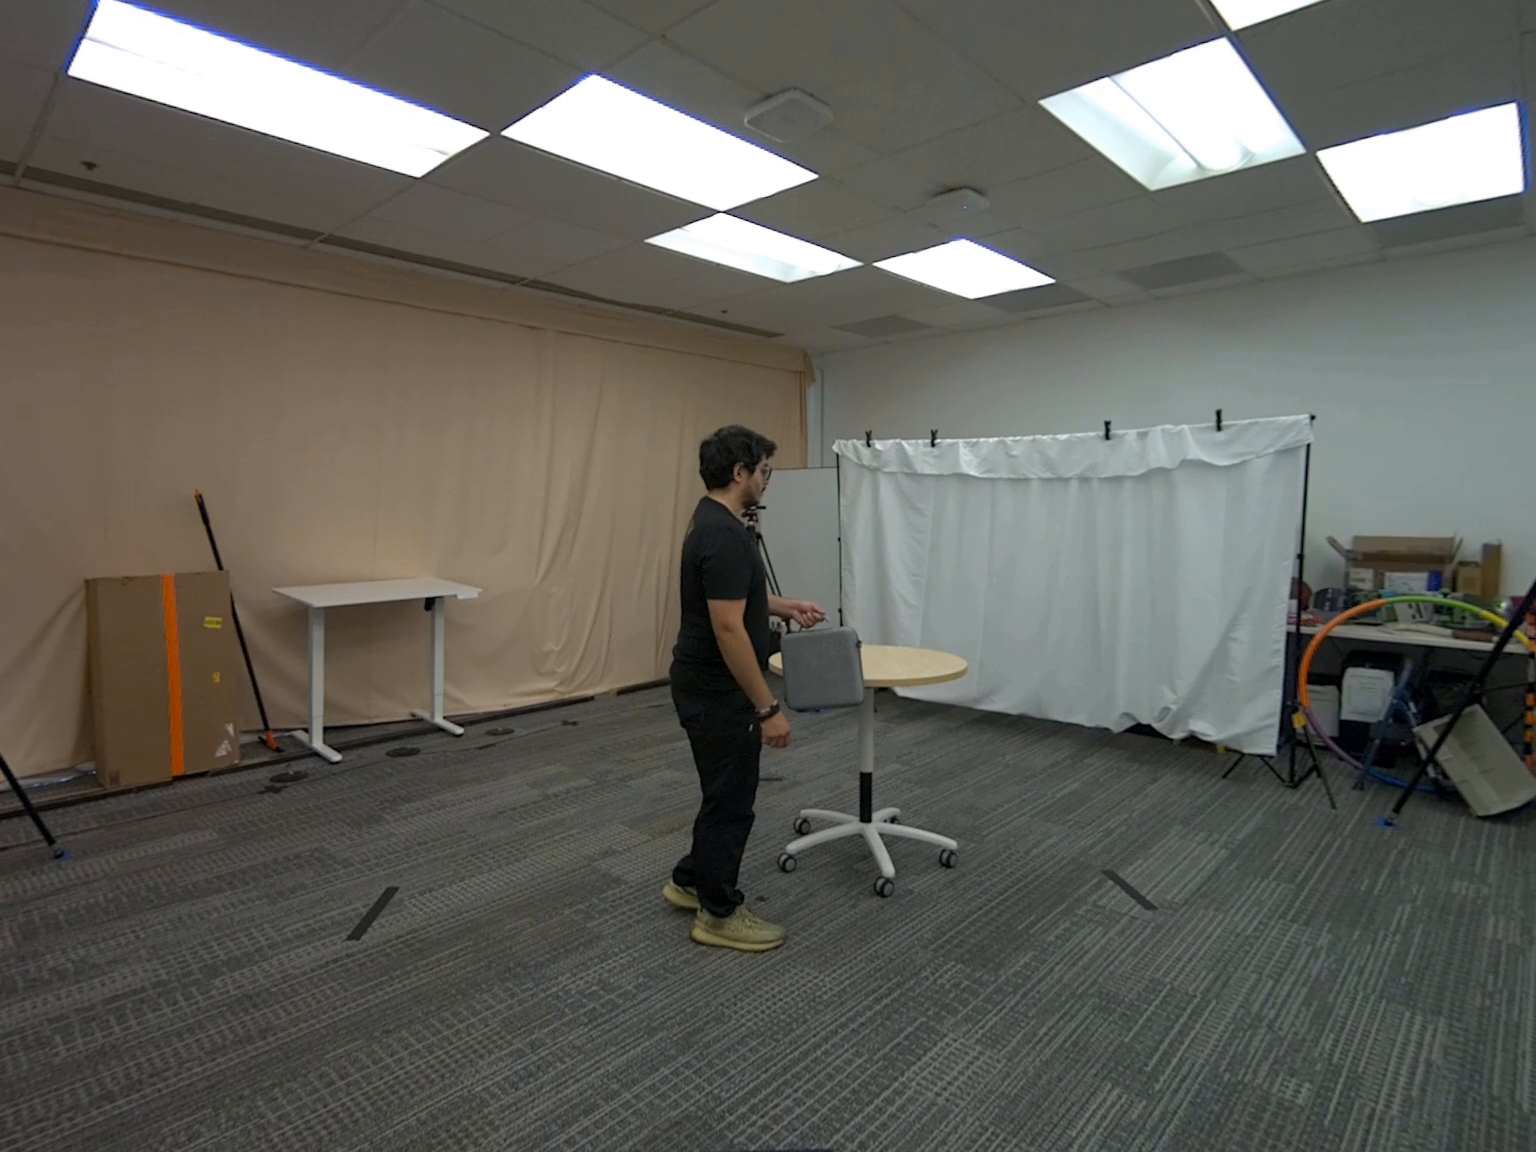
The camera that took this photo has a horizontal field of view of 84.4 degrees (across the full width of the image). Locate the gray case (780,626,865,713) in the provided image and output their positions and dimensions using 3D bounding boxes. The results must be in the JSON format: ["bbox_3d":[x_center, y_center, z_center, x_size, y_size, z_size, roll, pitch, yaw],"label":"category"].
[{"bbox_3d":[0.181,0.303,2.743,0.262,0.262,0.102,-9,-6,21],"label":"gray case"}]
